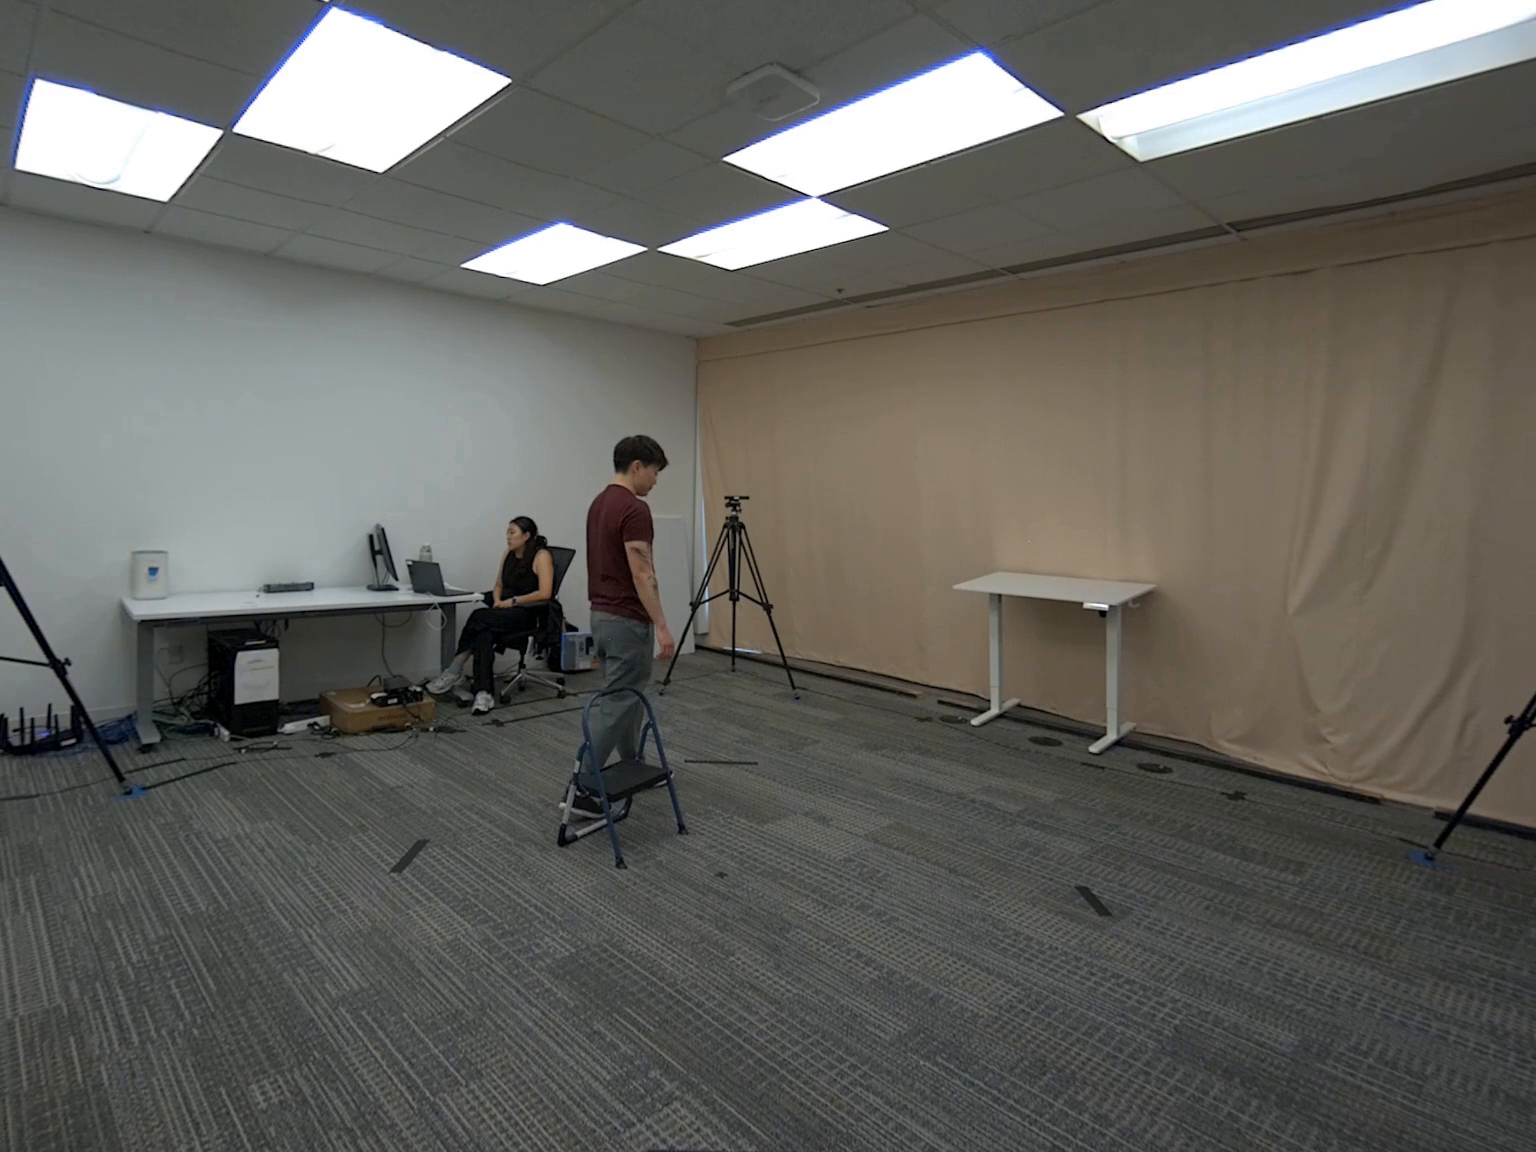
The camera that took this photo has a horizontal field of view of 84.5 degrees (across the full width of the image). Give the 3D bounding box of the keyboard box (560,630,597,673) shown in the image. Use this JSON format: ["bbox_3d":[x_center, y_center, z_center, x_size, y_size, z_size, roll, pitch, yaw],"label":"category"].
[{"bbox_3d":[-0.779,0.354,4.062,0.429,0.176,0.060,0,3,-24],"label":"keyboard box"}]
